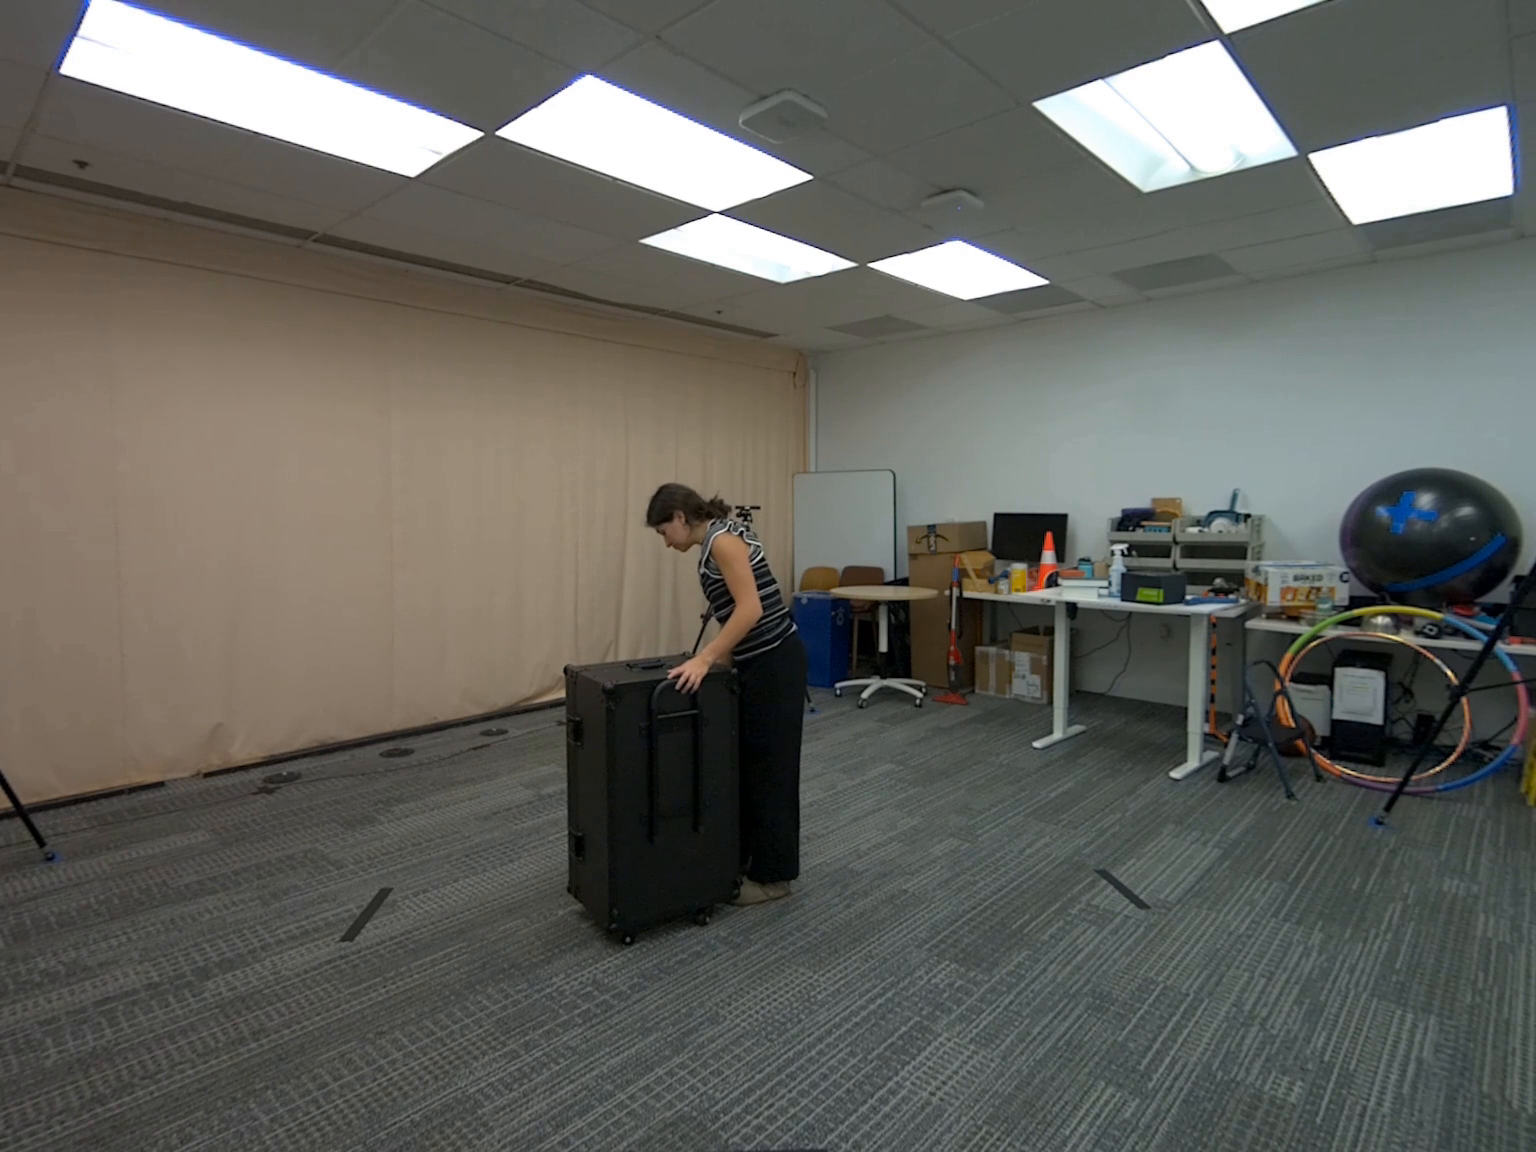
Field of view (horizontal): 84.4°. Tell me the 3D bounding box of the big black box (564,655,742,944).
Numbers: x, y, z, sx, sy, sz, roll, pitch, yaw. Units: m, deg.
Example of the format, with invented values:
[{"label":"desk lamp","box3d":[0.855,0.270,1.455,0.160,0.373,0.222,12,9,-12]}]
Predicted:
[{"label":"big black box","box3d":[-0.388,0.736,2.840,0.507,0.859,0.408,-2,4,-32]}]
